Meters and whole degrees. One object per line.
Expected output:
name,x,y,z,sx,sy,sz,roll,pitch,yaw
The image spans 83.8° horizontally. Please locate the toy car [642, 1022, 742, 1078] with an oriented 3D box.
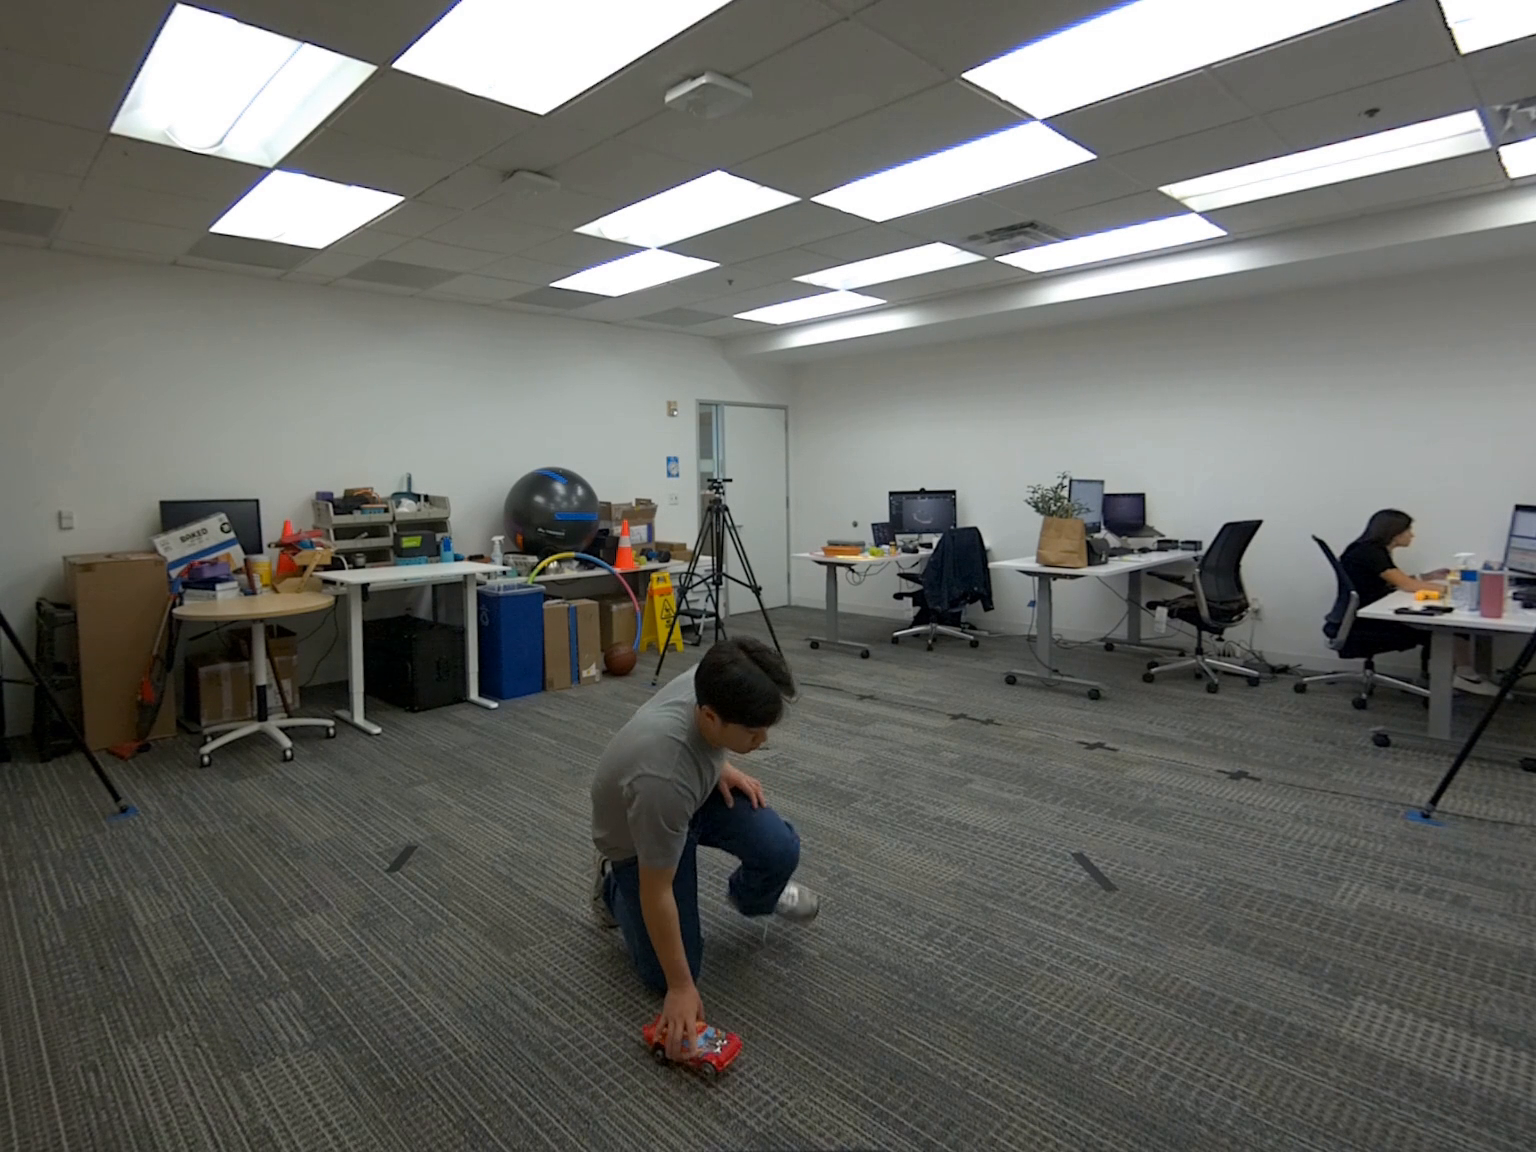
toy car,-0.196,1.137,2.064,0.262,0.082,0.127,6,12,33
